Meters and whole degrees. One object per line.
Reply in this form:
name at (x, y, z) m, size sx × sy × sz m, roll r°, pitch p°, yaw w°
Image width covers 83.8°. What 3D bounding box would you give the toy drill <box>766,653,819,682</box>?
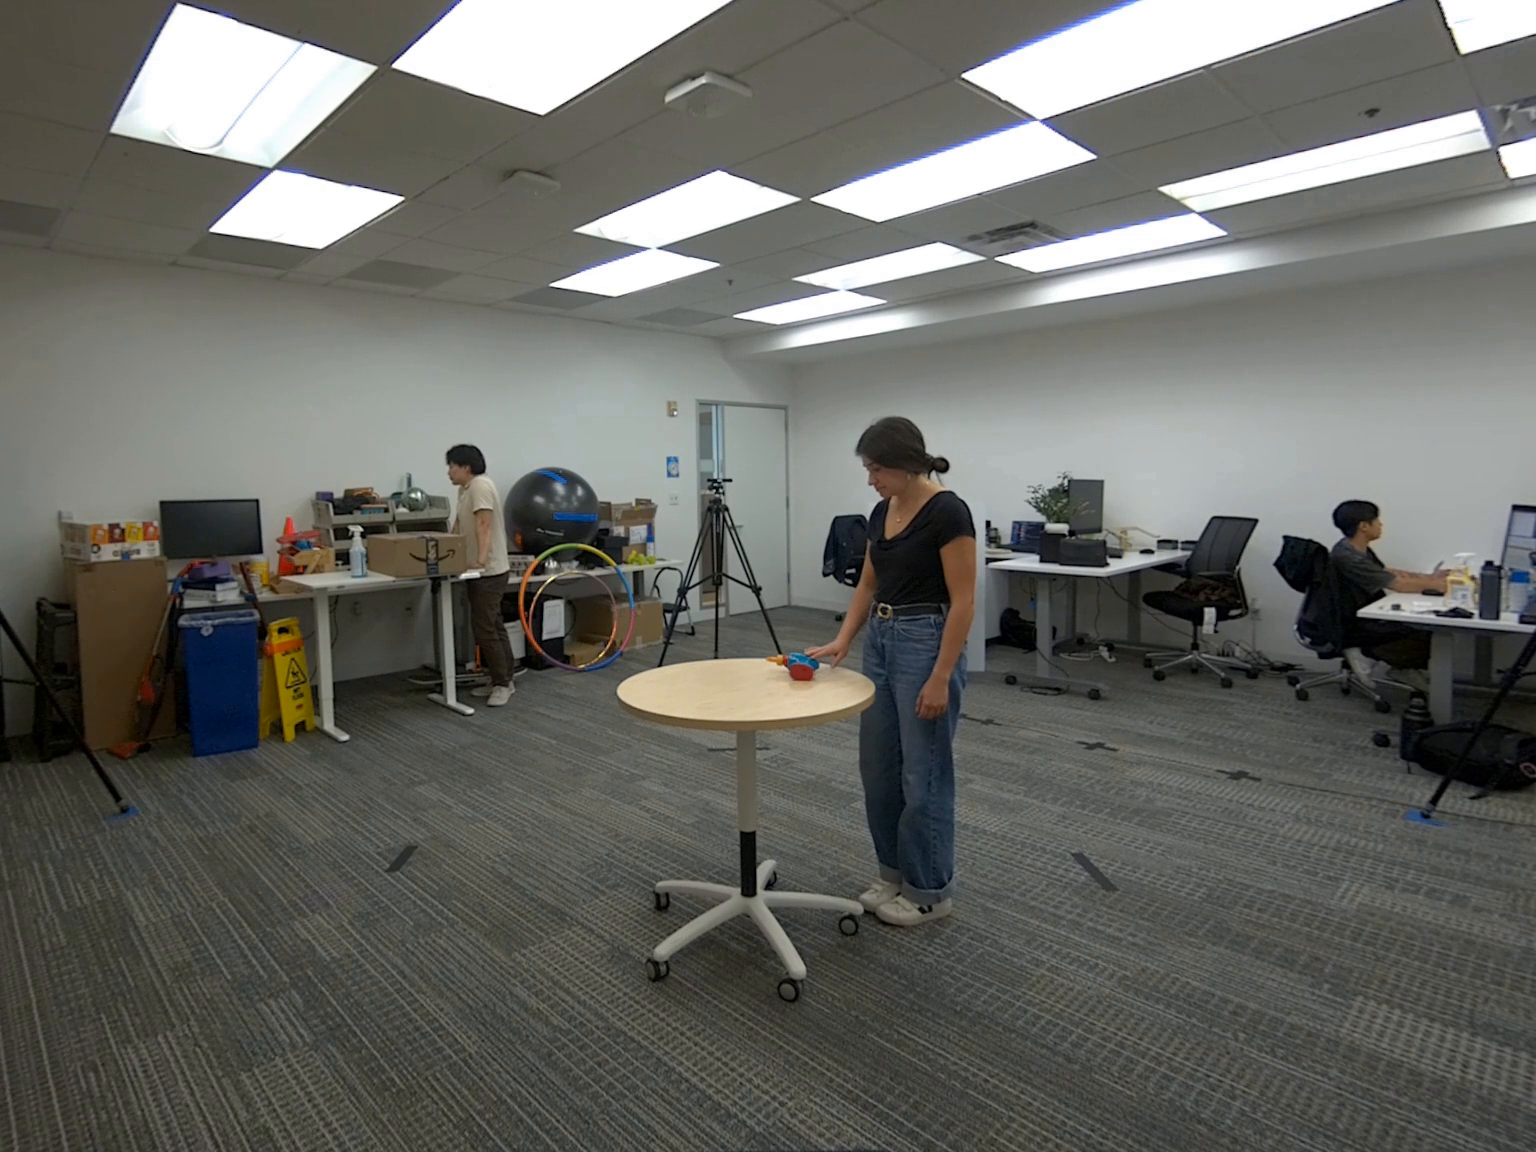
toy drill at (0.078, 0.278, 2.678) m, size 0.171 × 0.061 × 0.146 m, roll 6°, pitch 9°, yaw 6°
